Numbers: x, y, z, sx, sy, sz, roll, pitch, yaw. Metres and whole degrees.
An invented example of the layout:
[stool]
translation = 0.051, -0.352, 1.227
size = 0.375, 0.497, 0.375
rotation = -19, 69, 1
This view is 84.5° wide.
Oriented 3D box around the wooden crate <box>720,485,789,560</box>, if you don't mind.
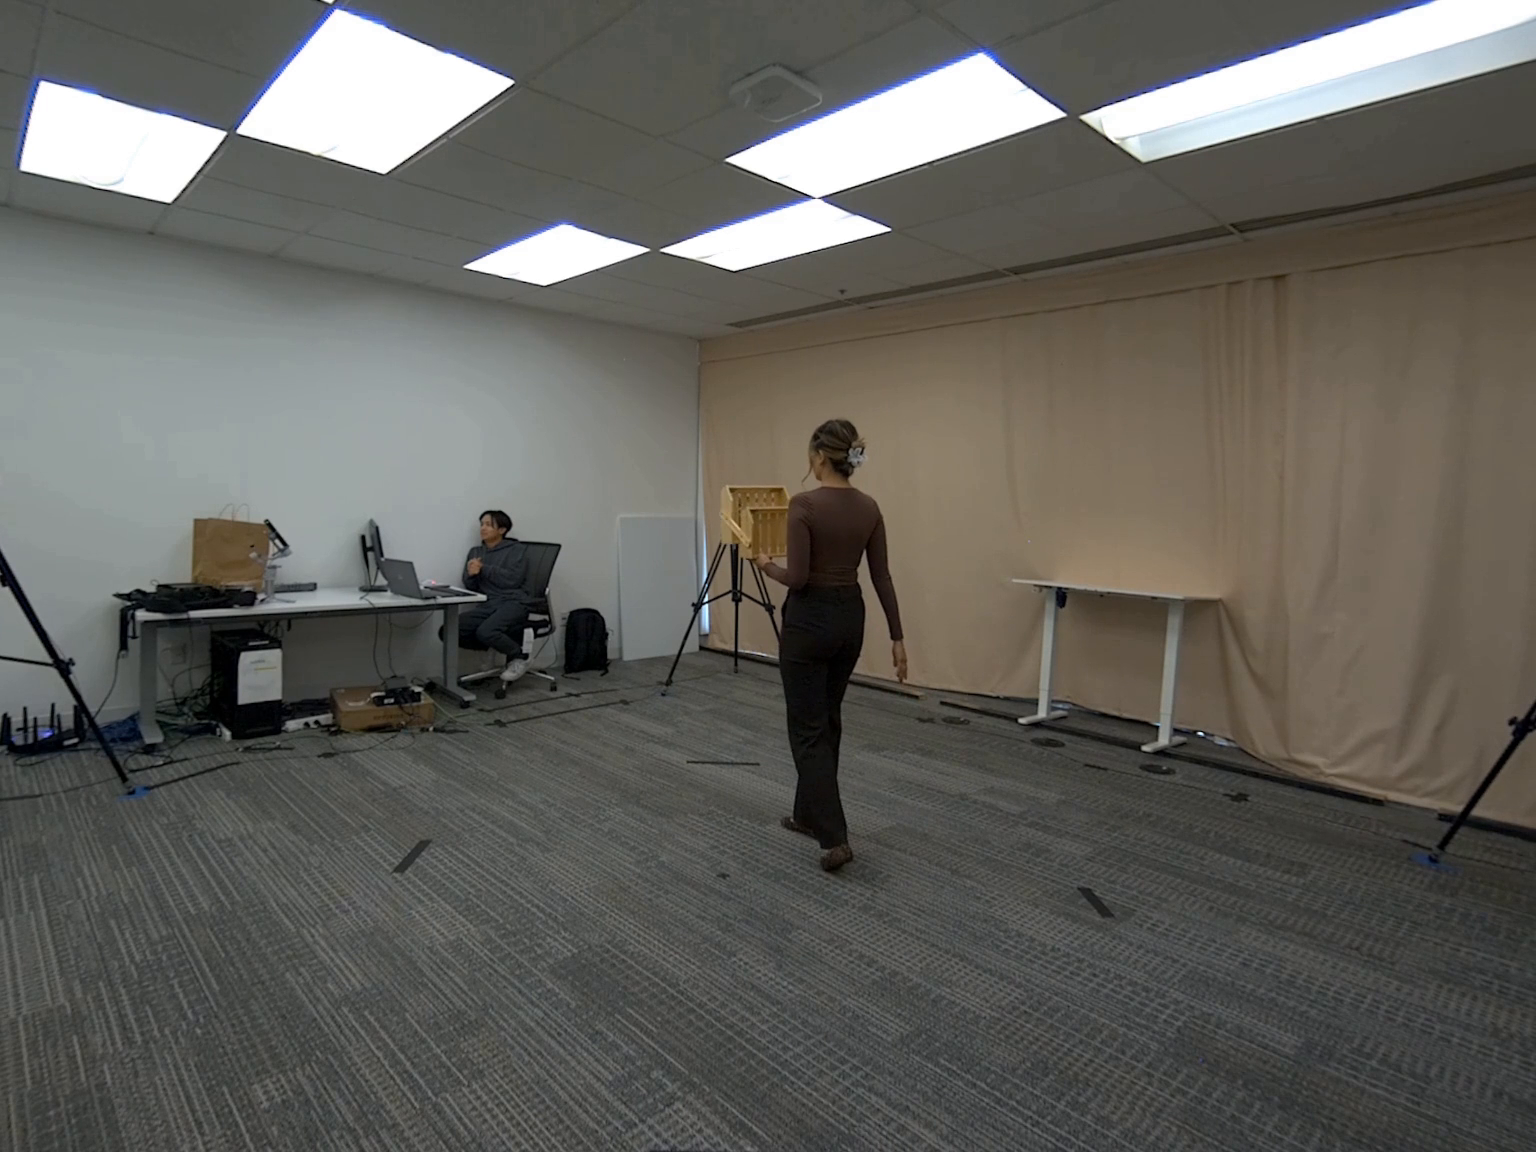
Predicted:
[wooden crate]
translation = -0.015, -0.239, 3.604
size = 0.318, 0.301, 0.279
rotation = -3, 5, -31
